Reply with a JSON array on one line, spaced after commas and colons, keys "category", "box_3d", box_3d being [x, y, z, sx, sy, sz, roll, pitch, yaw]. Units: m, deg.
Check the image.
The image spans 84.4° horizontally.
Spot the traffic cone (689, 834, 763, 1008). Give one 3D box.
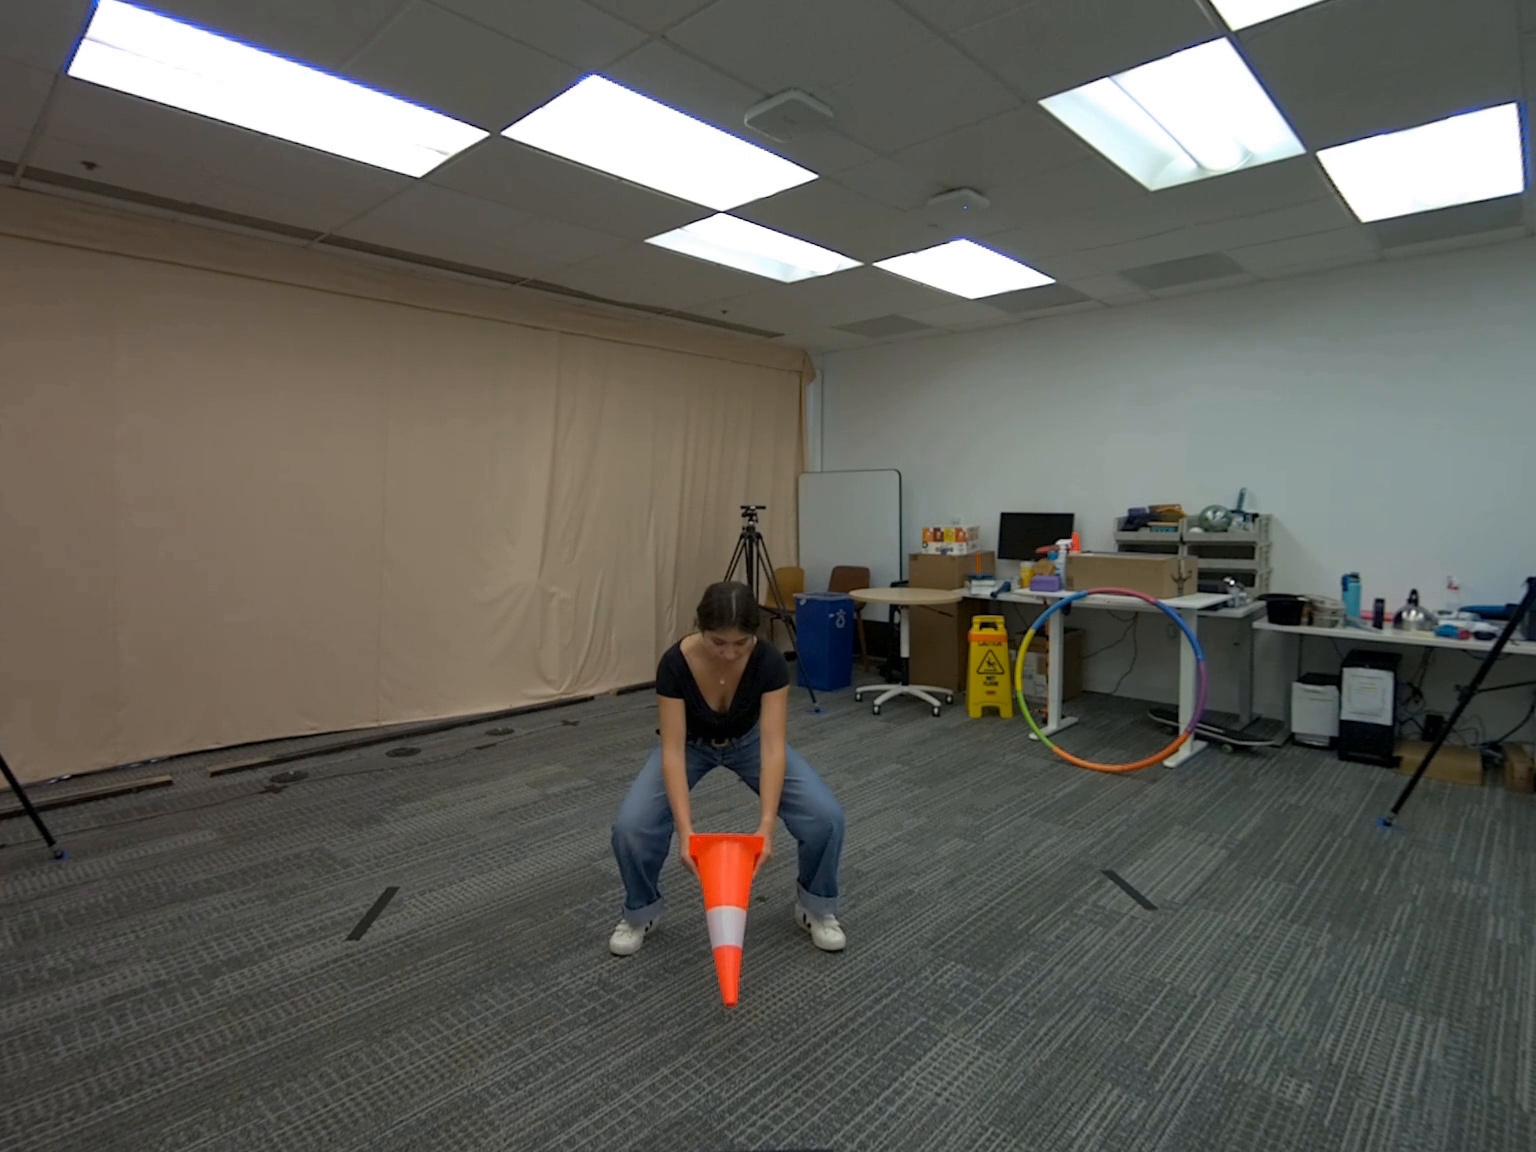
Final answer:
[{"category": "traffic cone", "box_3d": [-0.096, 0.873, 2.125, 0.202, 0.202, 0.392, 1, 44, -9]}]
